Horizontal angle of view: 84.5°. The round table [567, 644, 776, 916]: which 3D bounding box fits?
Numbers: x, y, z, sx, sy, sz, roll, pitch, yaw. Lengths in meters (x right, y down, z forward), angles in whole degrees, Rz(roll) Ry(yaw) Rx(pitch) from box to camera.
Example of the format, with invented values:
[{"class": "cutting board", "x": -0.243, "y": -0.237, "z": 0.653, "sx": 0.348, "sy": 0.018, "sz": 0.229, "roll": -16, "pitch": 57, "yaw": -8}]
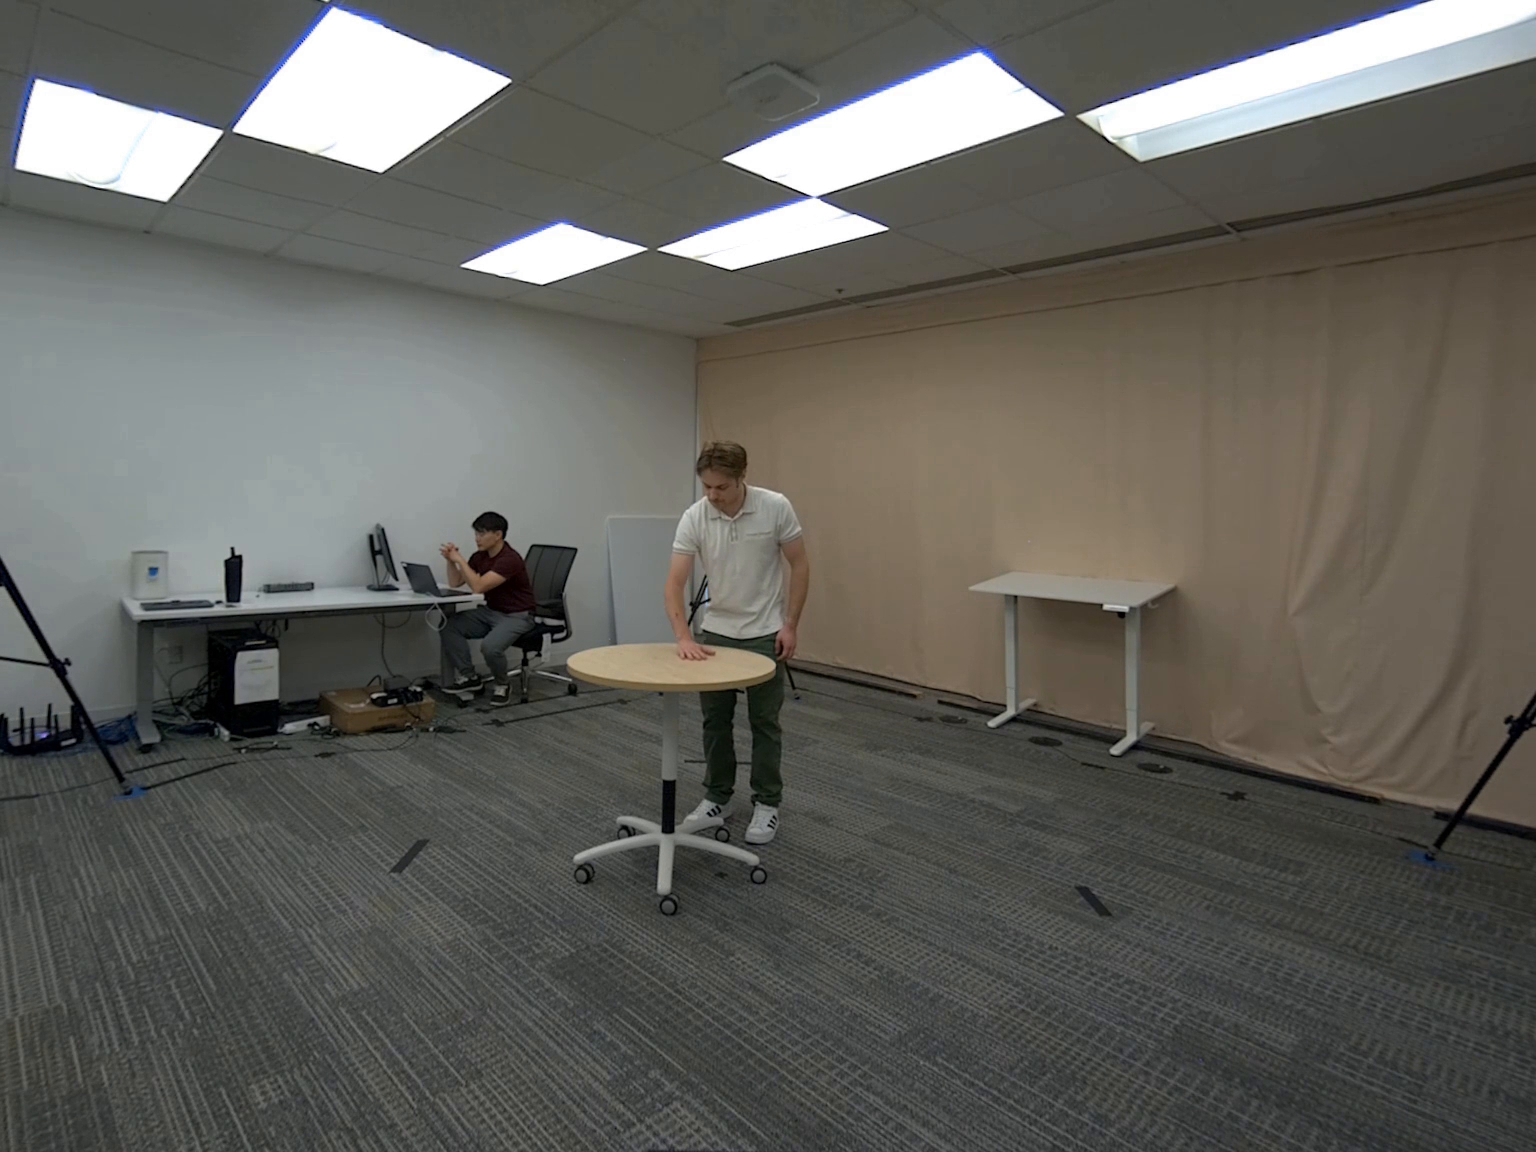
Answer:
[{"class": "round table", "x": -0.386, "y": 0.702, "z": 3.120, "sx": 0.784, "sy": 0.785, "sz": 0.787, "roll": 2, "pitch": 4, "yaw": -1}]
